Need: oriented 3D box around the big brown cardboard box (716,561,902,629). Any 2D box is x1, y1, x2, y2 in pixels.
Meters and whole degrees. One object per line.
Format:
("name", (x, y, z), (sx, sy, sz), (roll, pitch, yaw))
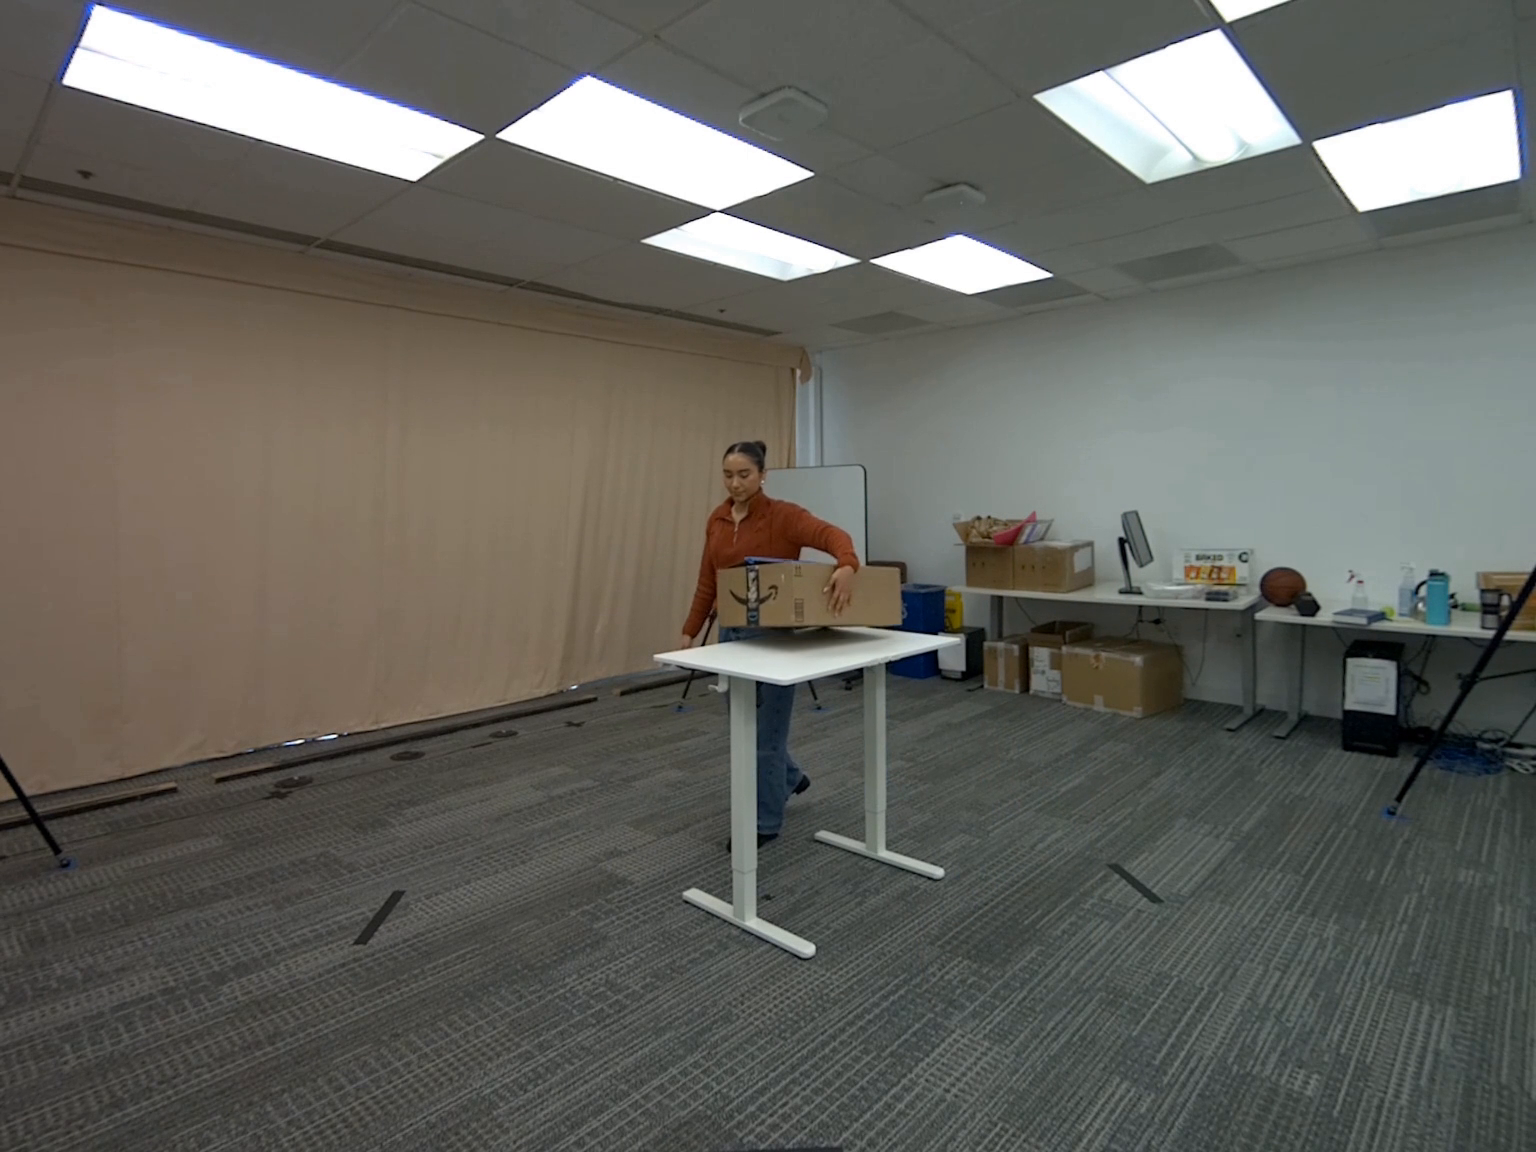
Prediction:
("big brown cardboard box", (0.162, 0.080, 3.167), (0.570, 0.234, 0.430), (3, -6, -40))
